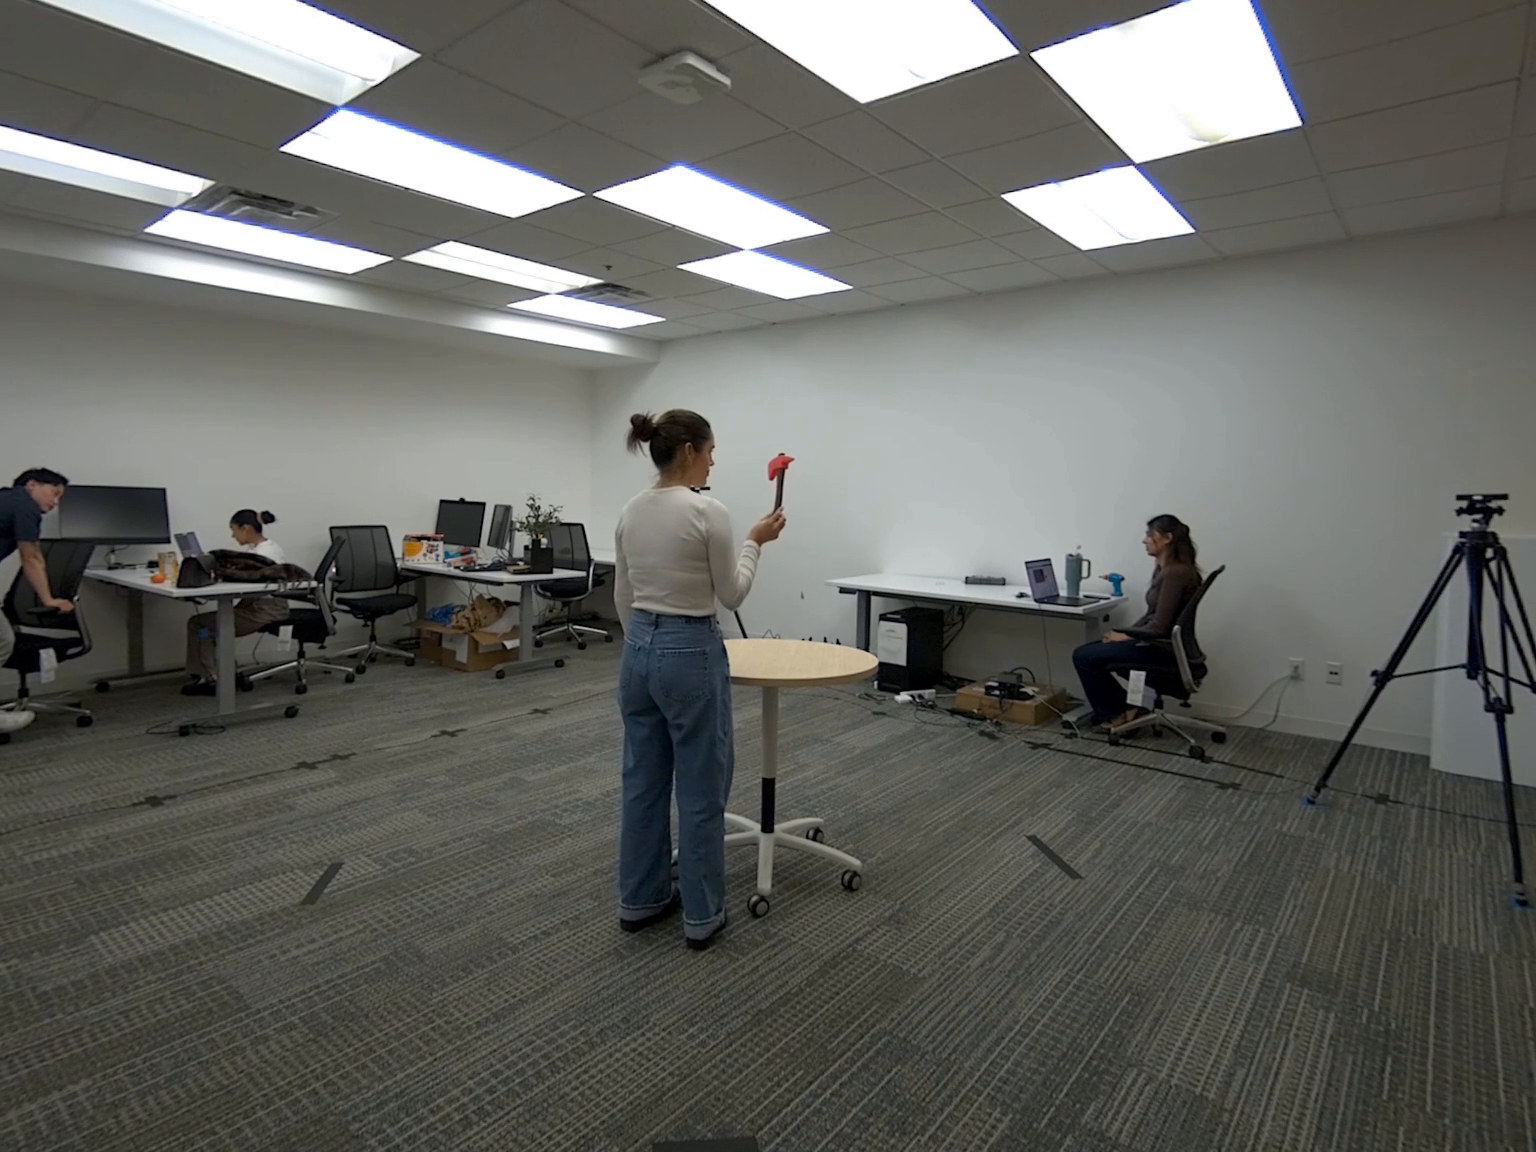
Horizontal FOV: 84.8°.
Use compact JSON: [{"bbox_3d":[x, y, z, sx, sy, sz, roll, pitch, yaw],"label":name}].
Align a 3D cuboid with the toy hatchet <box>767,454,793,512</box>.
[{"bbox_3d":[0.005,-0.266,2.724,0.028,0.269,0.136,8,8,-37],"label":"toy hatchet"}]
